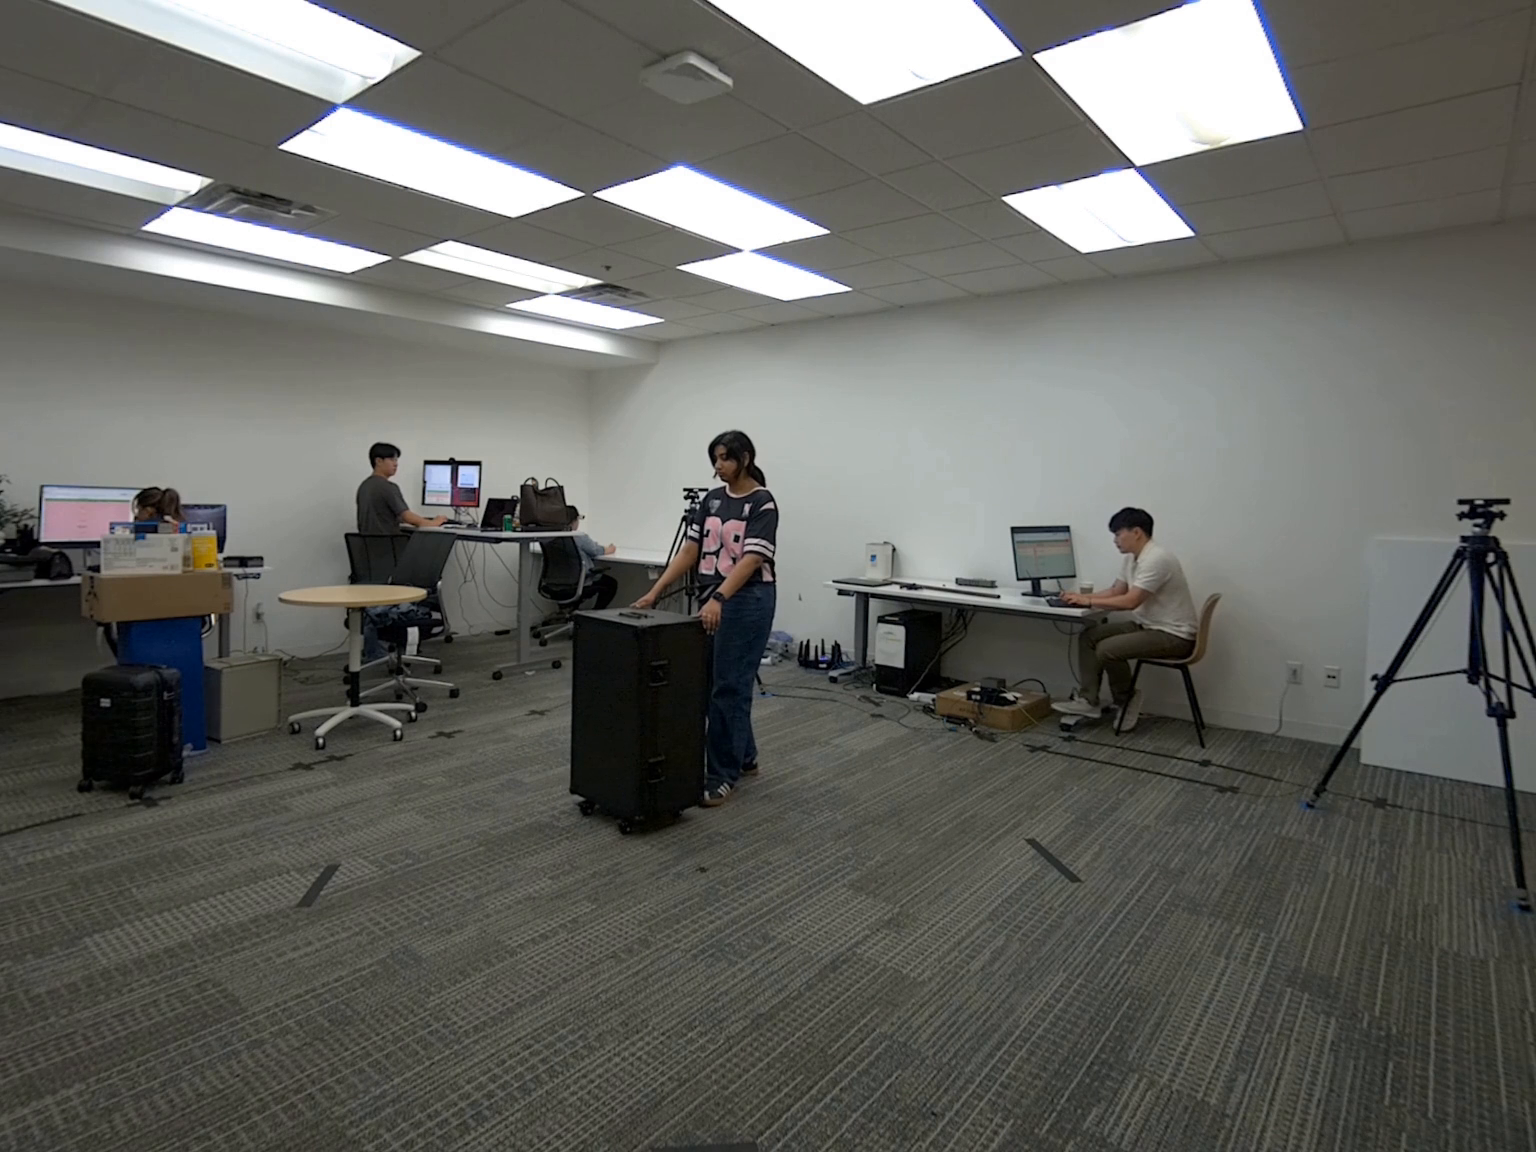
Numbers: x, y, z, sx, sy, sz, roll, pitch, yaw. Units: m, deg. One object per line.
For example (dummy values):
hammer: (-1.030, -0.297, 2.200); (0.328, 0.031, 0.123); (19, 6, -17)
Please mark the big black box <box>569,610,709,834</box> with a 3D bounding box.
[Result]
big black box: (-0.576, 0.593, 3.616); (0.541, 0.867, 0.373); (4, 3, 44)
